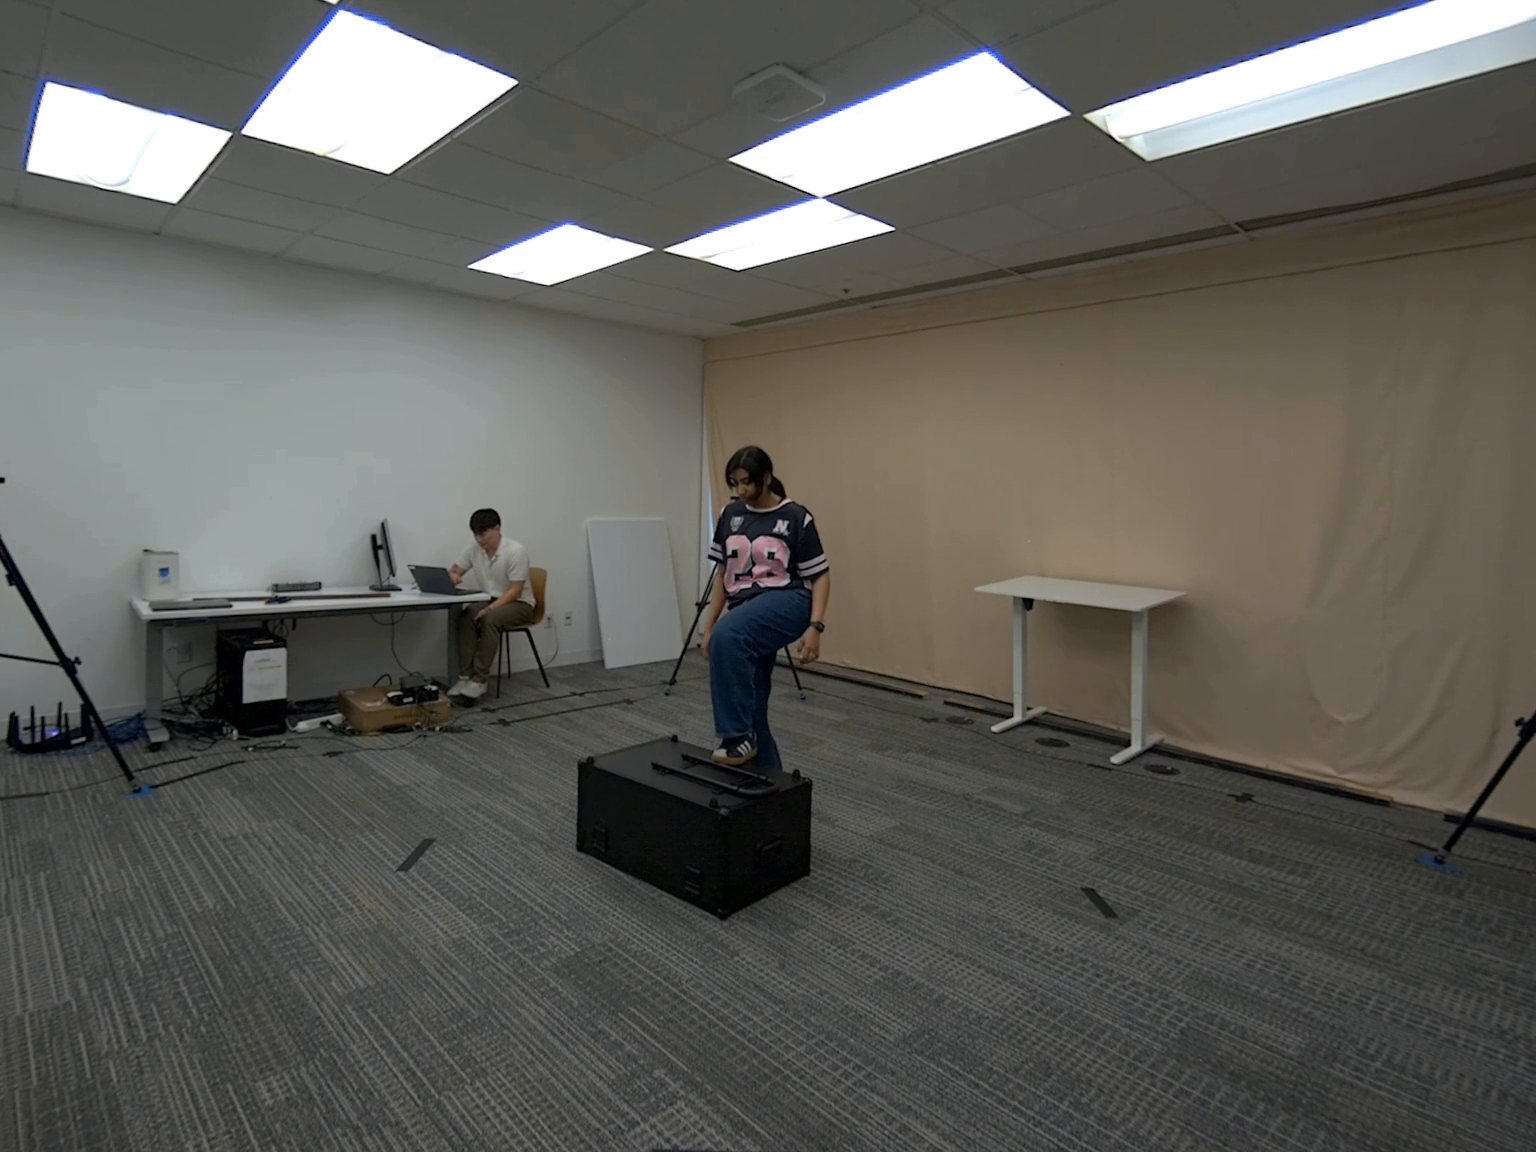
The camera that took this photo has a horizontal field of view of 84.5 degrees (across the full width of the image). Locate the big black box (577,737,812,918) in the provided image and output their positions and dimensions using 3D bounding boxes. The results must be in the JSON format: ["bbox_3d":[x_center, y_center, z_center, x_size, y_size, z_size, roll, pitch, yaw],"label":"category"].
[{"bbox_3d":[-0.328,0.906,3.214,0.890,0.384,0.512,5,7,41],"label":"big black box"}]
